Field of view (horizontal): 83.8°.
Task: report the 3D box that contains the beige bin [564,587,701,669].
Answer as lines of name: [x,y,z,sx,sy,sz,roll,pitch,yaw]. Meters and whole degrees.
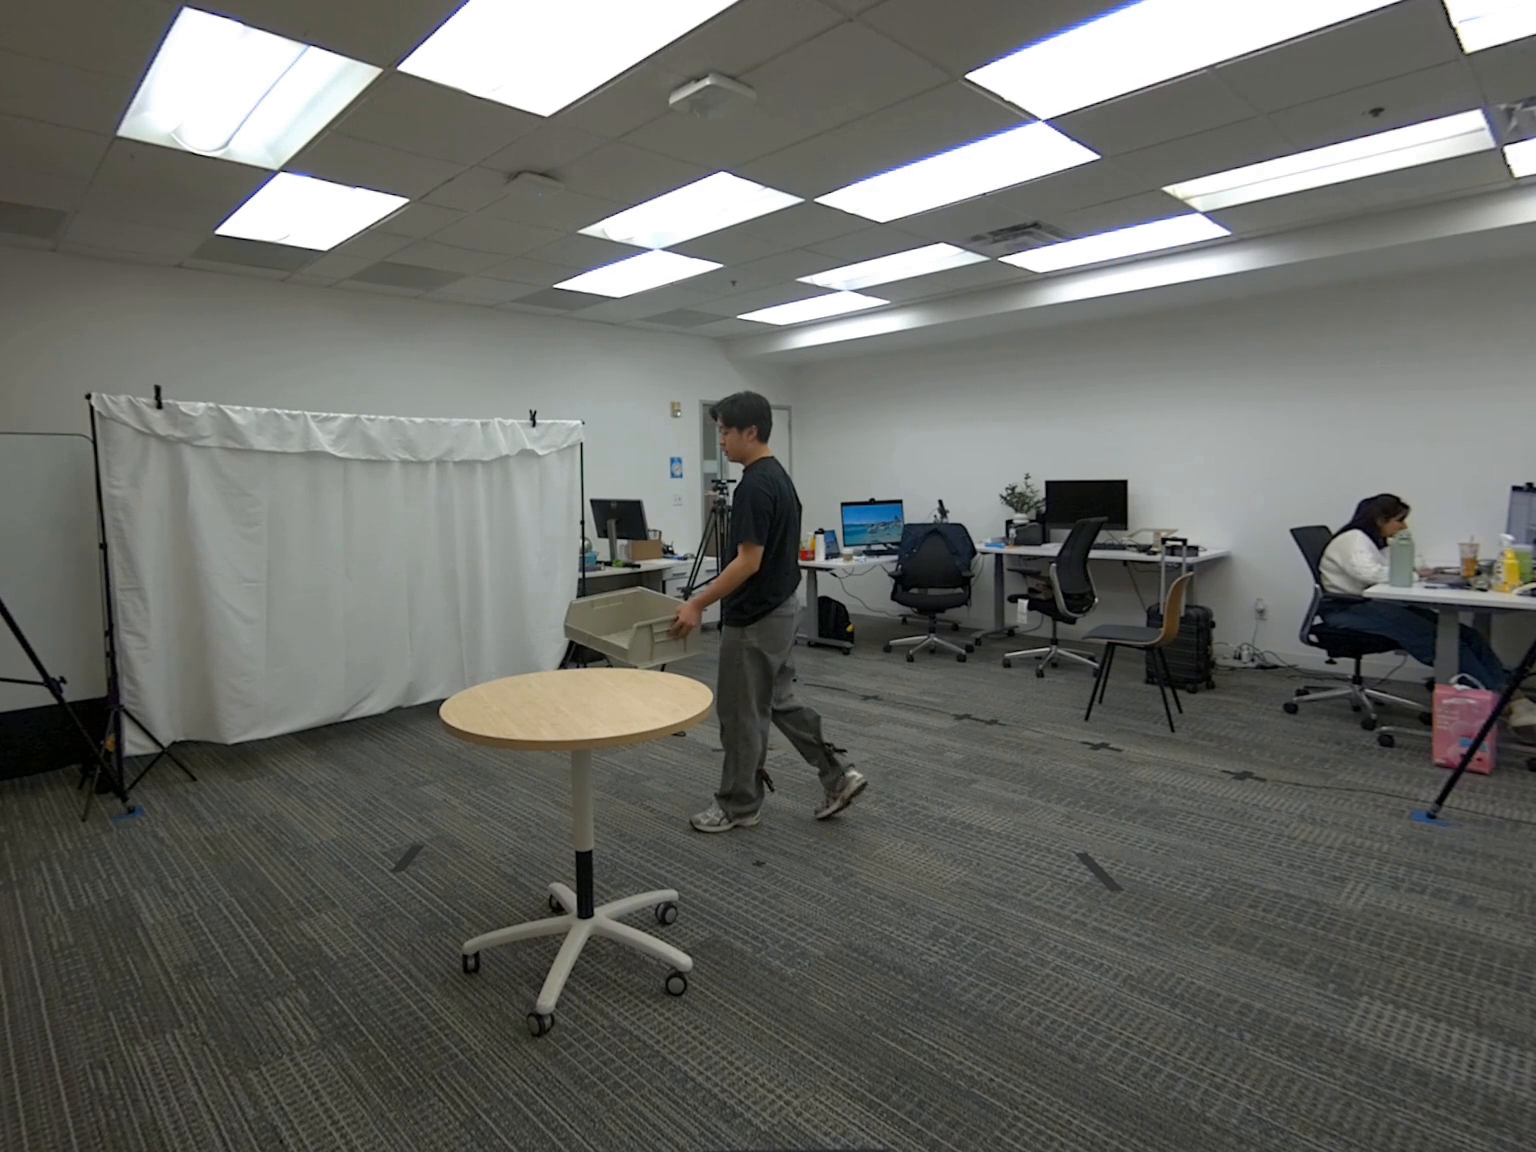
beige bin: [-0.514,0.197,3.309,0.368,0.187,0.437,-9,15,-44]
